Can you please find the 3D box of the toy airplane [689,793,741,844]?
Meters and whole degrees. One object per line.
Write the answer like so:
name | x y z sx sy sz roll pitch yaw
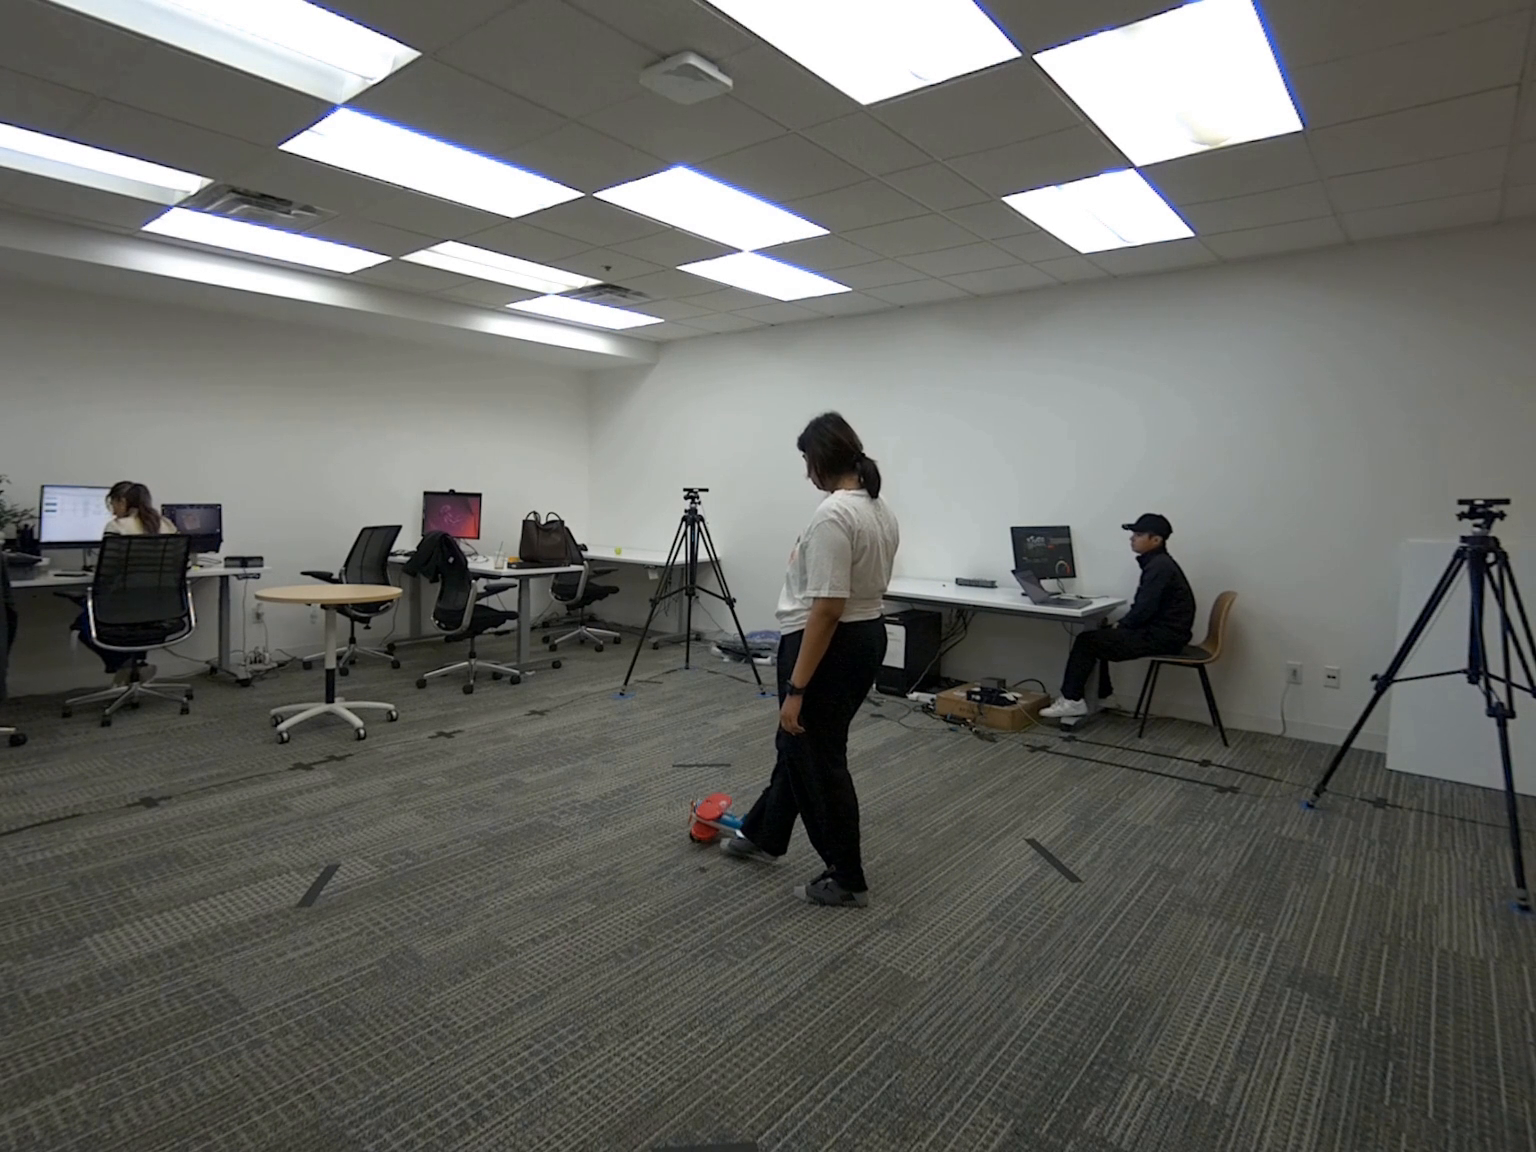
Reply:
toy airplane | -0.193 0.966 3.377 0.257 0.156 0.254 -1 5 -9
